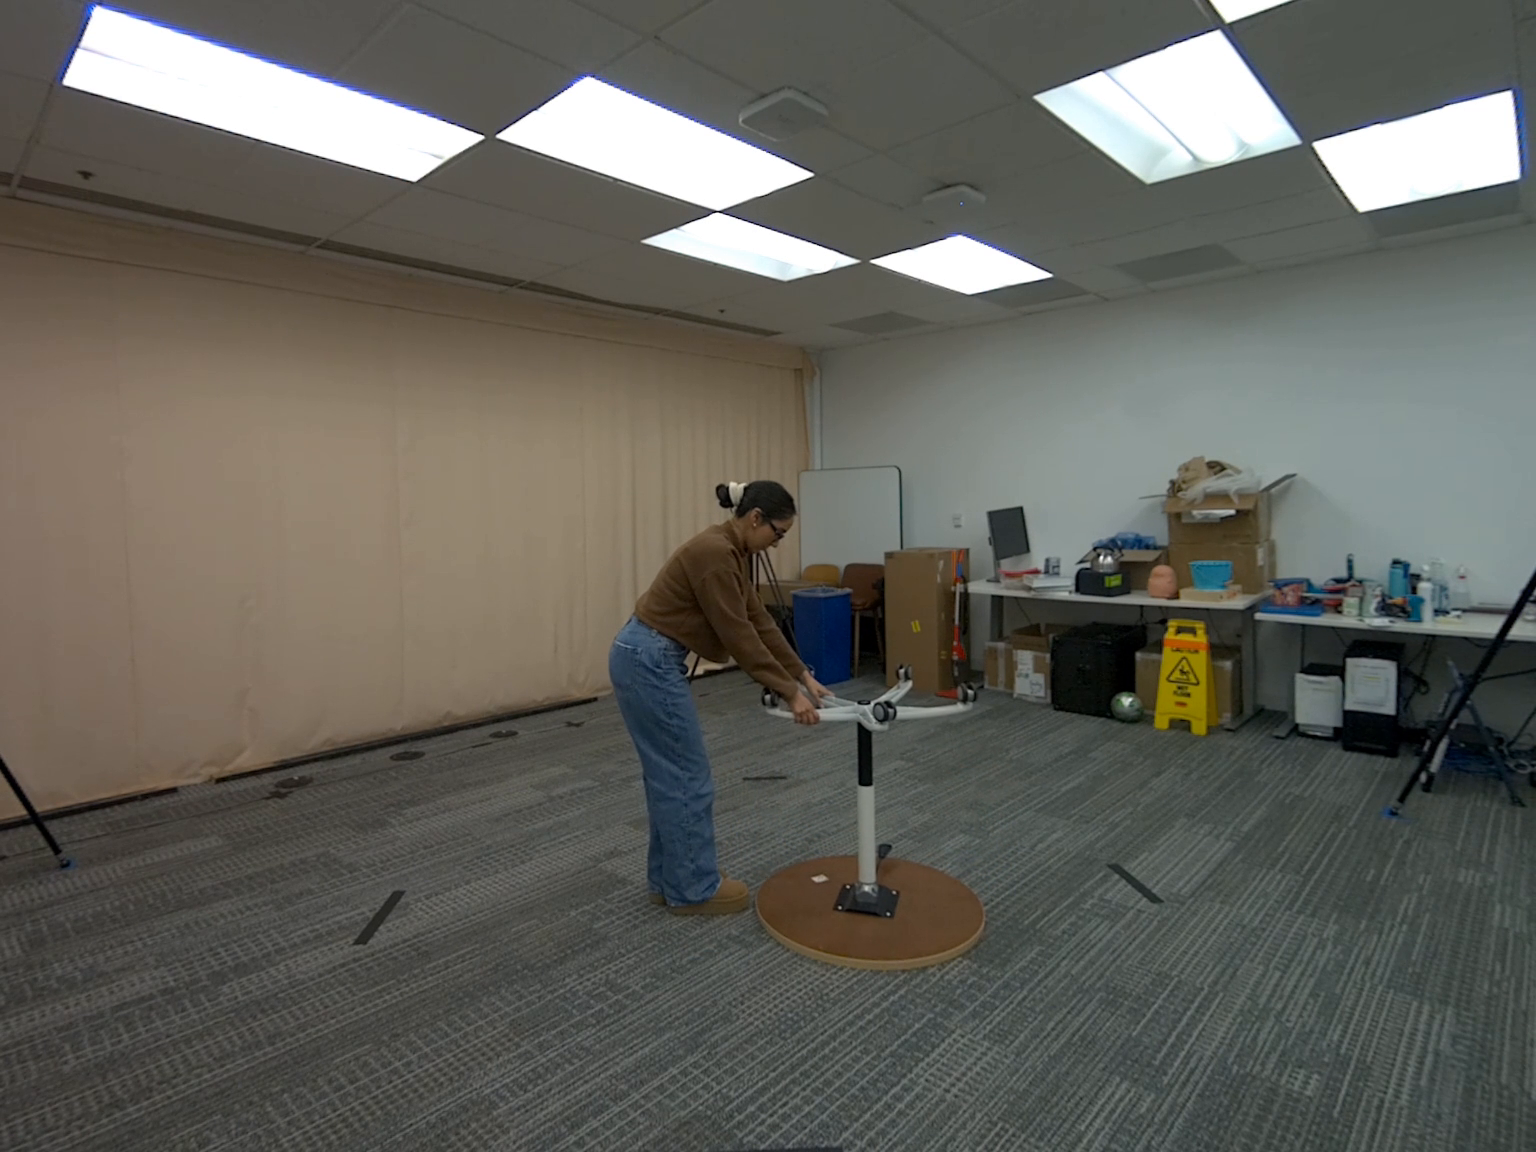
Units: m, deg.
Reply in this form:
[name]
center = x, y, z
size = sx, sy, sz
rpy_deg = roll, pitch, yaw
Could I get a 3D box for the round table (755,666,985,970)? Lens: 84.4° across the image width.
[round table]
center = 0.345, 0.750, 2.864
size = 0.763, 0.792, 0.767
rpy_deg = -1, 4, -2
